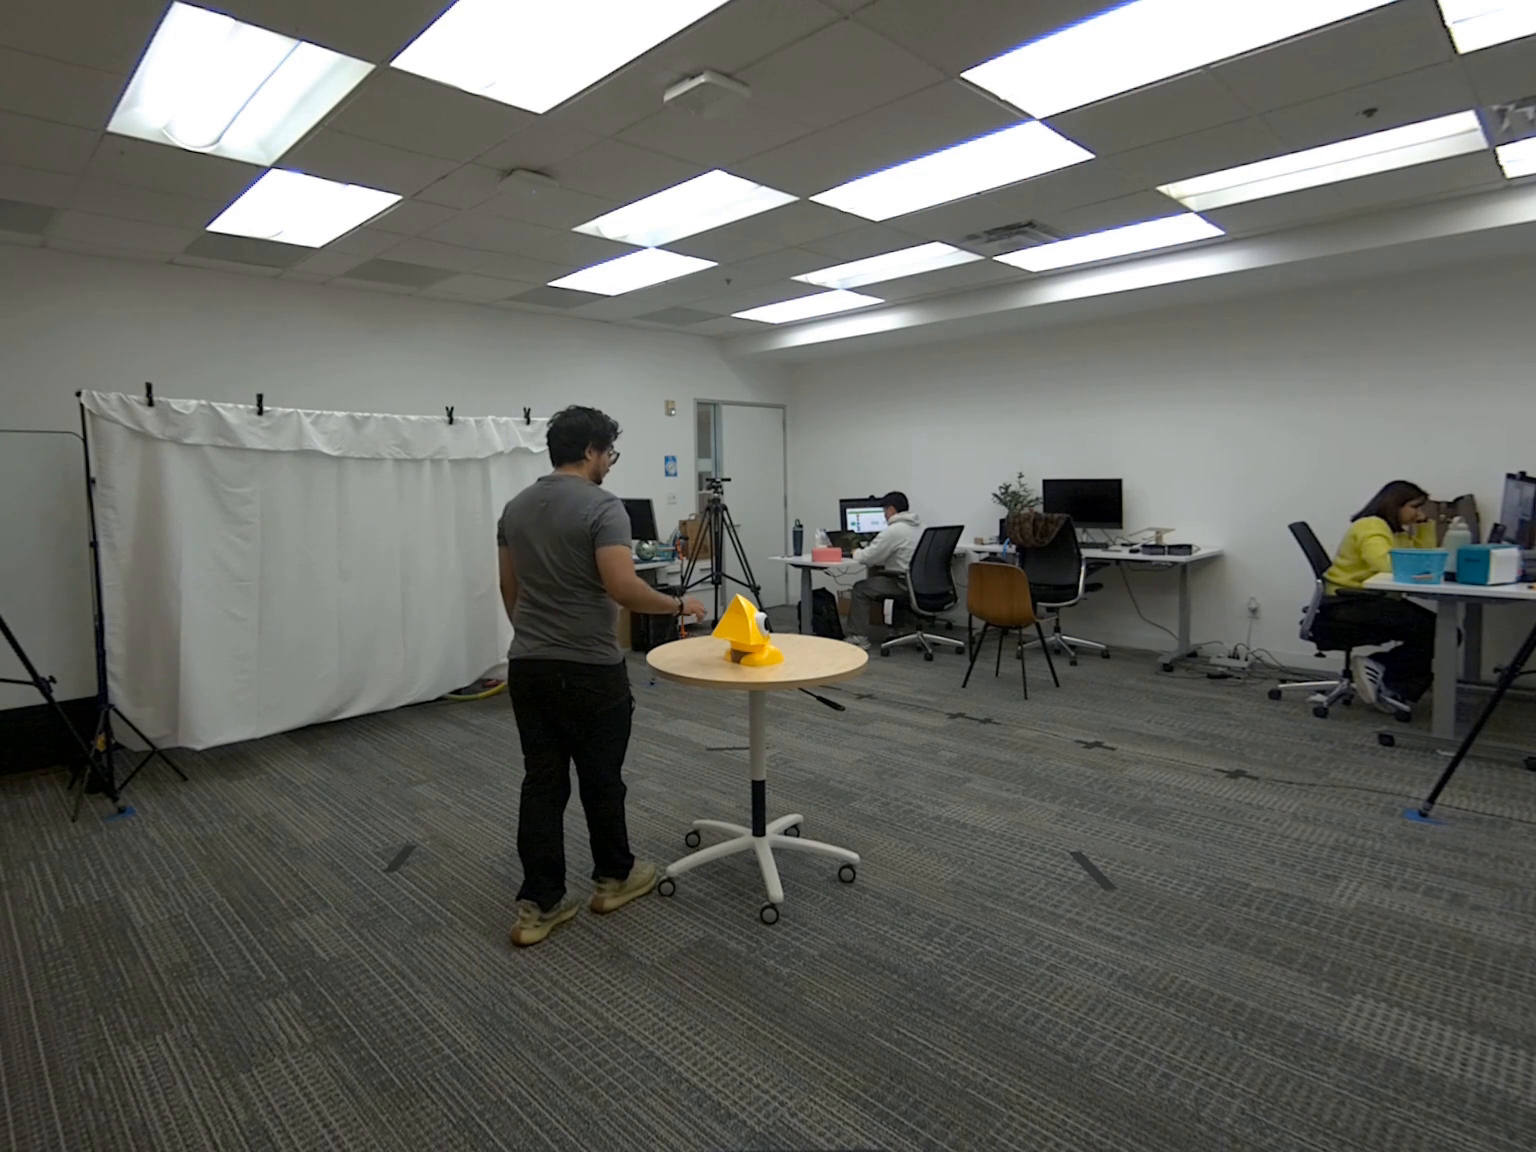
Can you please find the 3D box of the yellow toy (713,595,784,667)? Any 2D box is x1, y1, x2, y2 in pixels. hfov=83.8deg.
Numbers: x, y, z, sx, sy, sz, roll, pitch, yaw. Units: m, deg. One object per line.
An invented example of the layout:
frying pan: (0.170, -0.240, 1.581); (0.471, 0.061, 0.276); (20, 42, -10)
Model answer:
yellow toy: (-0.058, 0.169, 2.884); (0.188, 0.230, 0.211); (-5, 6, -41)
